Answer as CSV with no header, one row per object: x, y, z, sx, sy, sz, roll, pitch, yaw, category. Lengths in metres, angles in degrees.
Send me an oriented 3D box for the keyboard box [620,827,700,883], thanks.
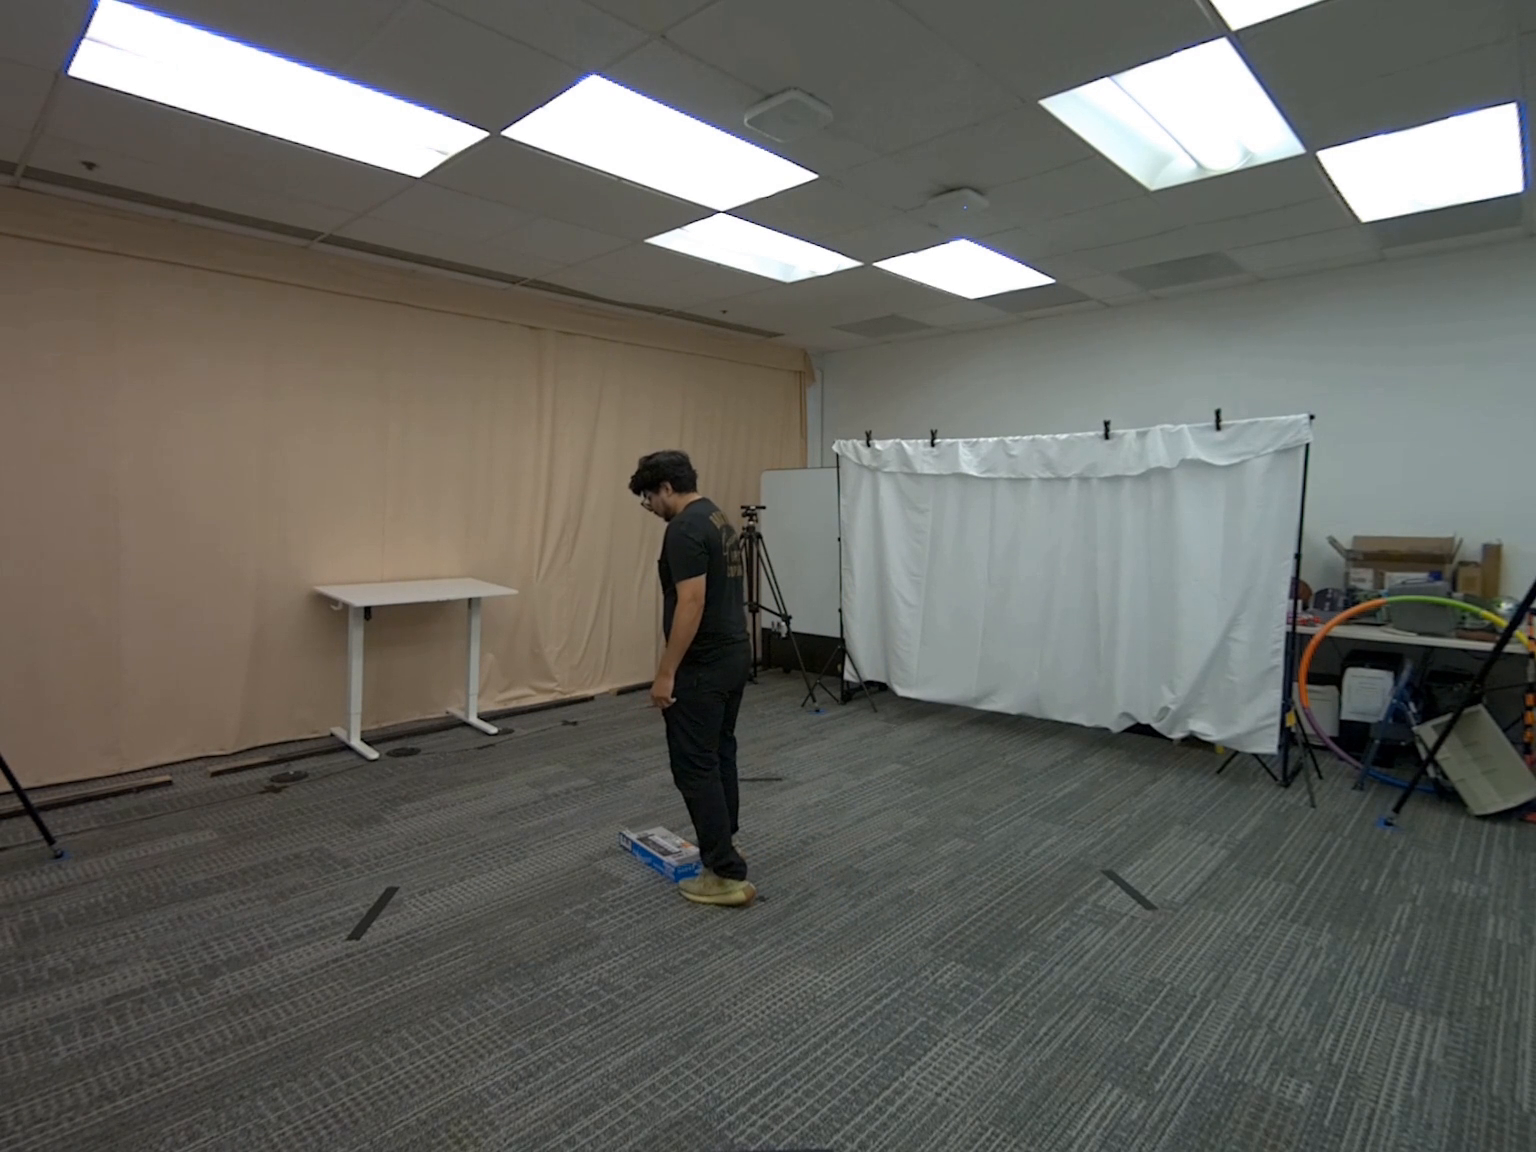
-0.410,1.087,3.332,0.171,0.059,0.451,-3,5,-36,keyboard box
